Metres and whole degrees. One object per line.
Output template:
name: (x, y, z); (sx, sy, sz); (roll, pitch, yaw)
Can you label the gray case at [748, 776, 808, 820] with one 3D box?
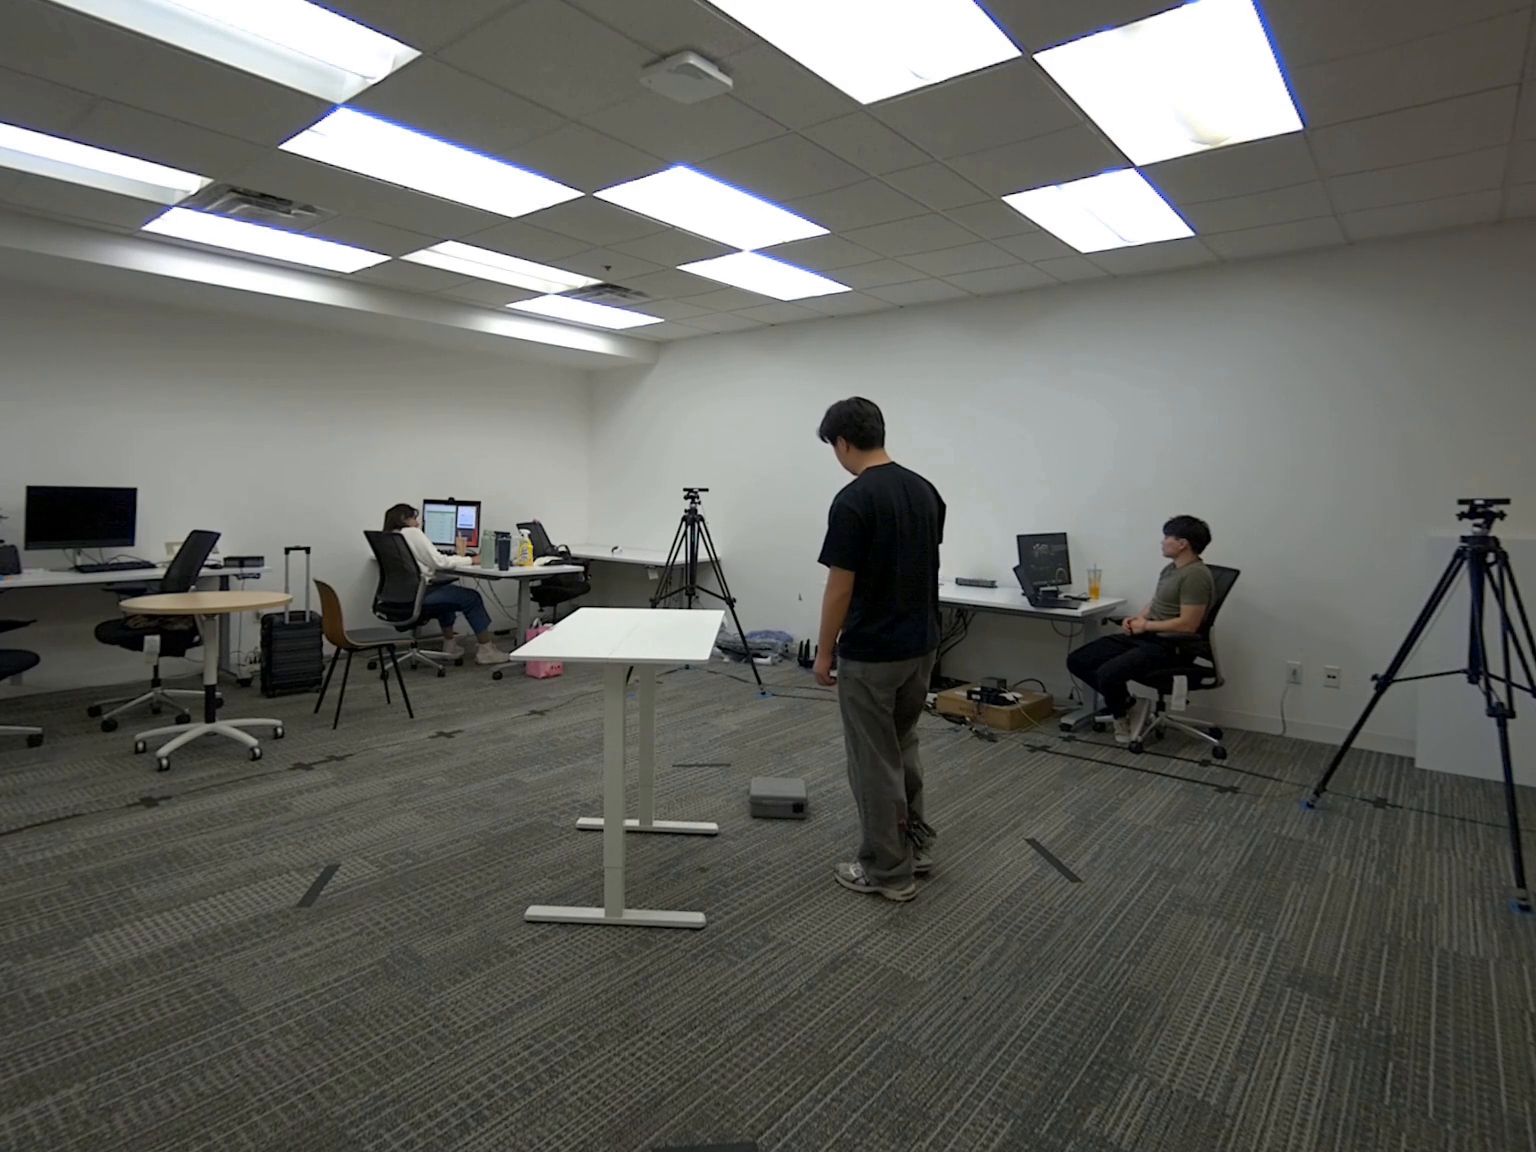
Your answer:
gray case: (0.033, 0.958, 3.728); (0.264, 0.103, 0.287); (1, 5, 2)
